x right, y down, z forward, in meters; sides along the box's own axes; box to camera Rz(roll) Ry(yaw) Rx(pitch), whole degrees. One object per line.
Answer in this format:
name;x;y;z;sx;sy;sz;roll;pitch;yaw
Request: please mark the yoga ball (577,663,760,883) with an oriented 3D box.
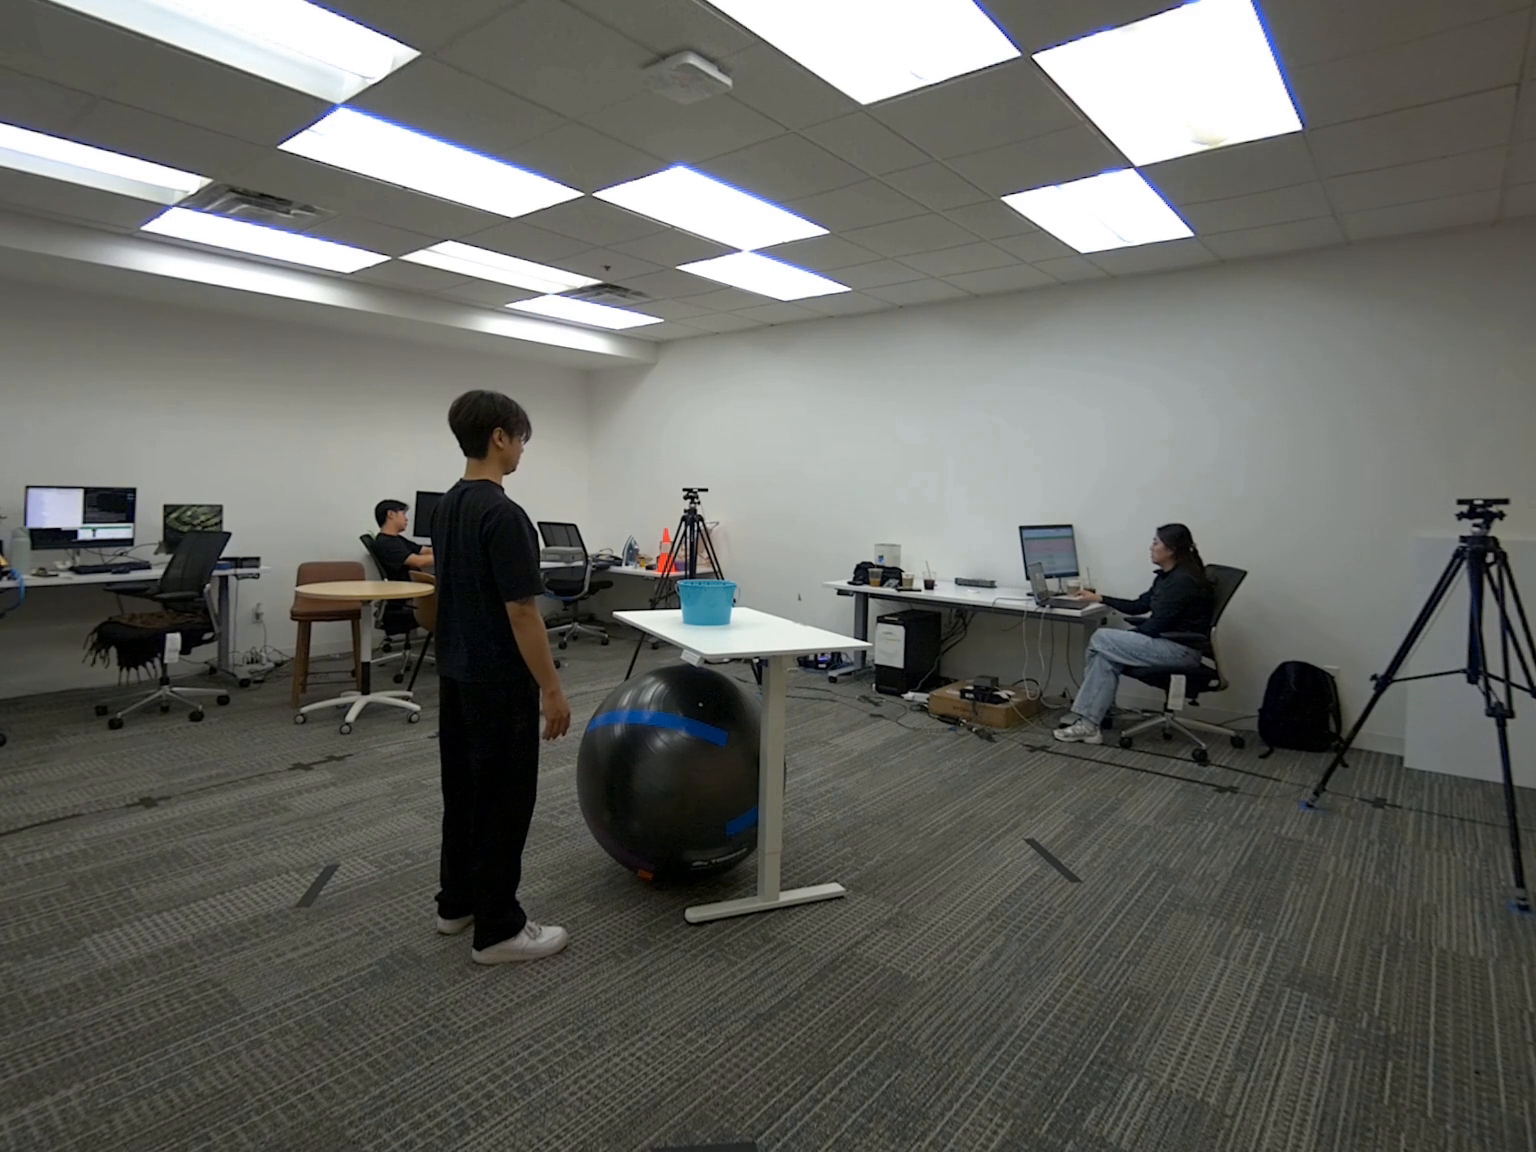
yoga ball;-0.319;0.711;3.089;0.757;0.756;0.762;1;4;-2
